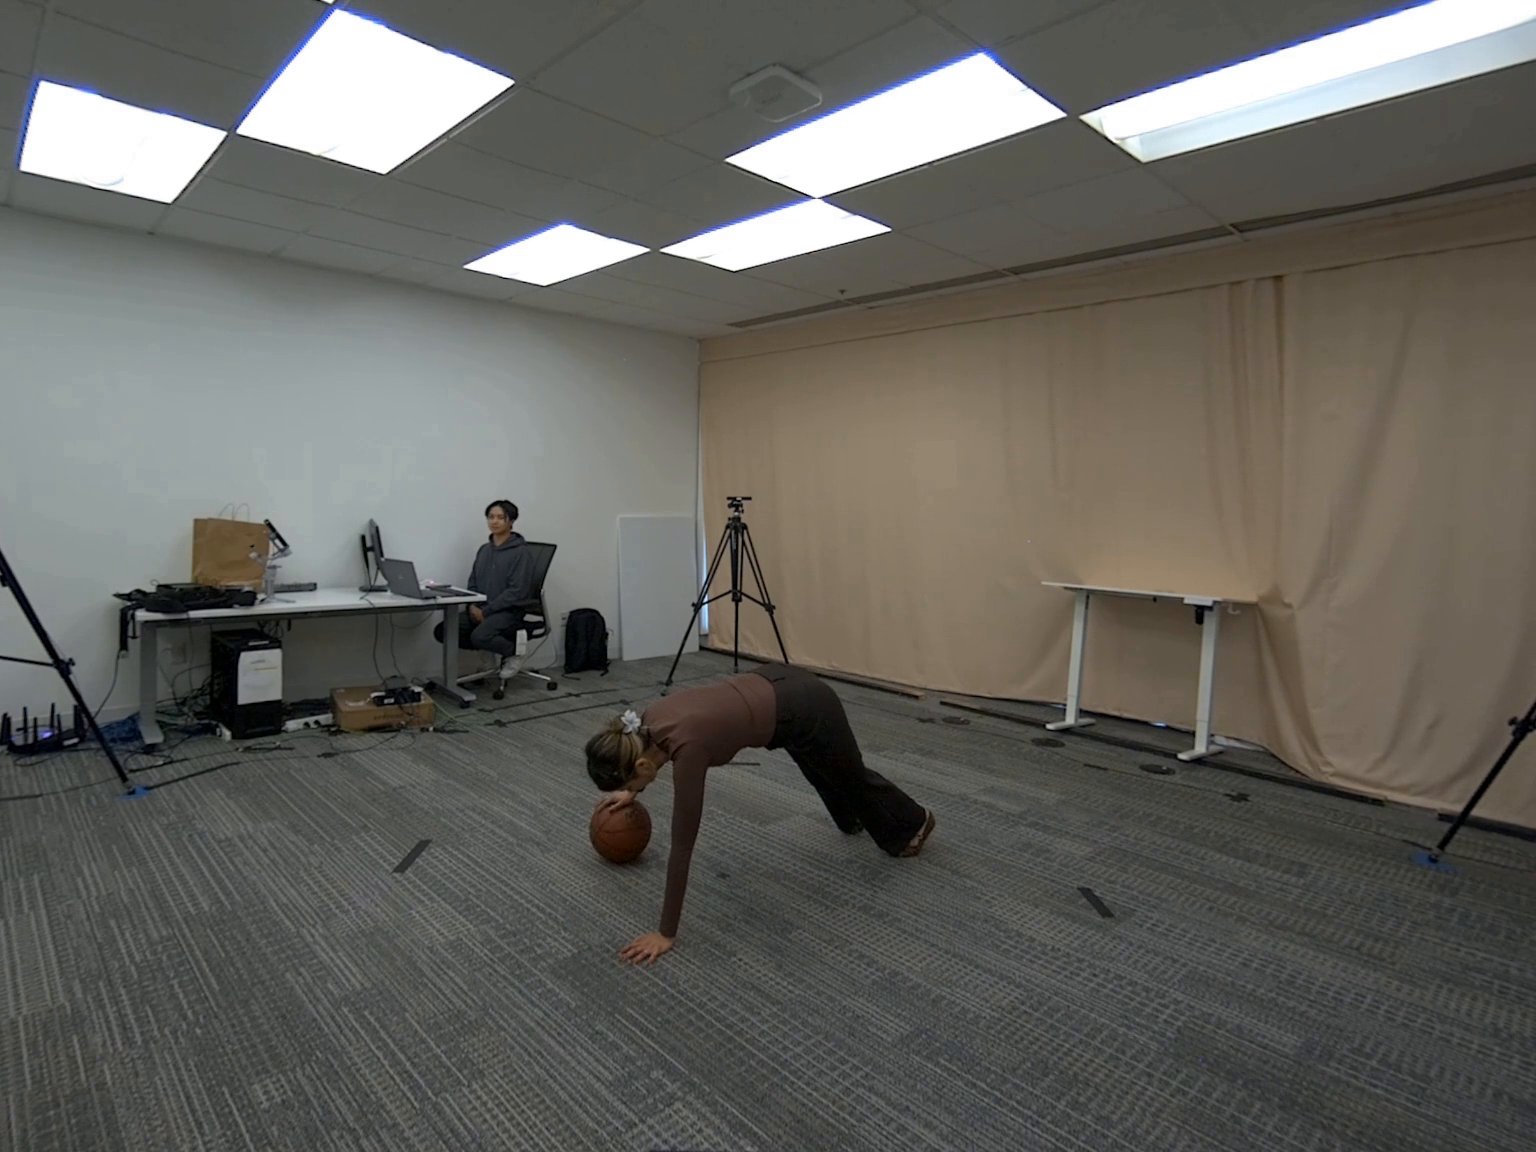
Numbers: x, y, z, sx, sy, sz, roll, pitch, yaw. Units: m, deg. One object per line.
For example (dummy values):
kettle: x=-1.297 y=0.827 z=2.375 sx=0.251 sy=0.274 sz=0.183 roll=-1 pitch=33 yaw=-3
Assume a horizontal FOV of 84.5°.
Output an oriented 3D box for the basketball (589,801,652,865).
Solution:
basketball: x=-0.557 y=0.959 z=3.209 sx=0.236 sy=0.235 sz=0.237 roll=1 pitch=4 yaw=-1
